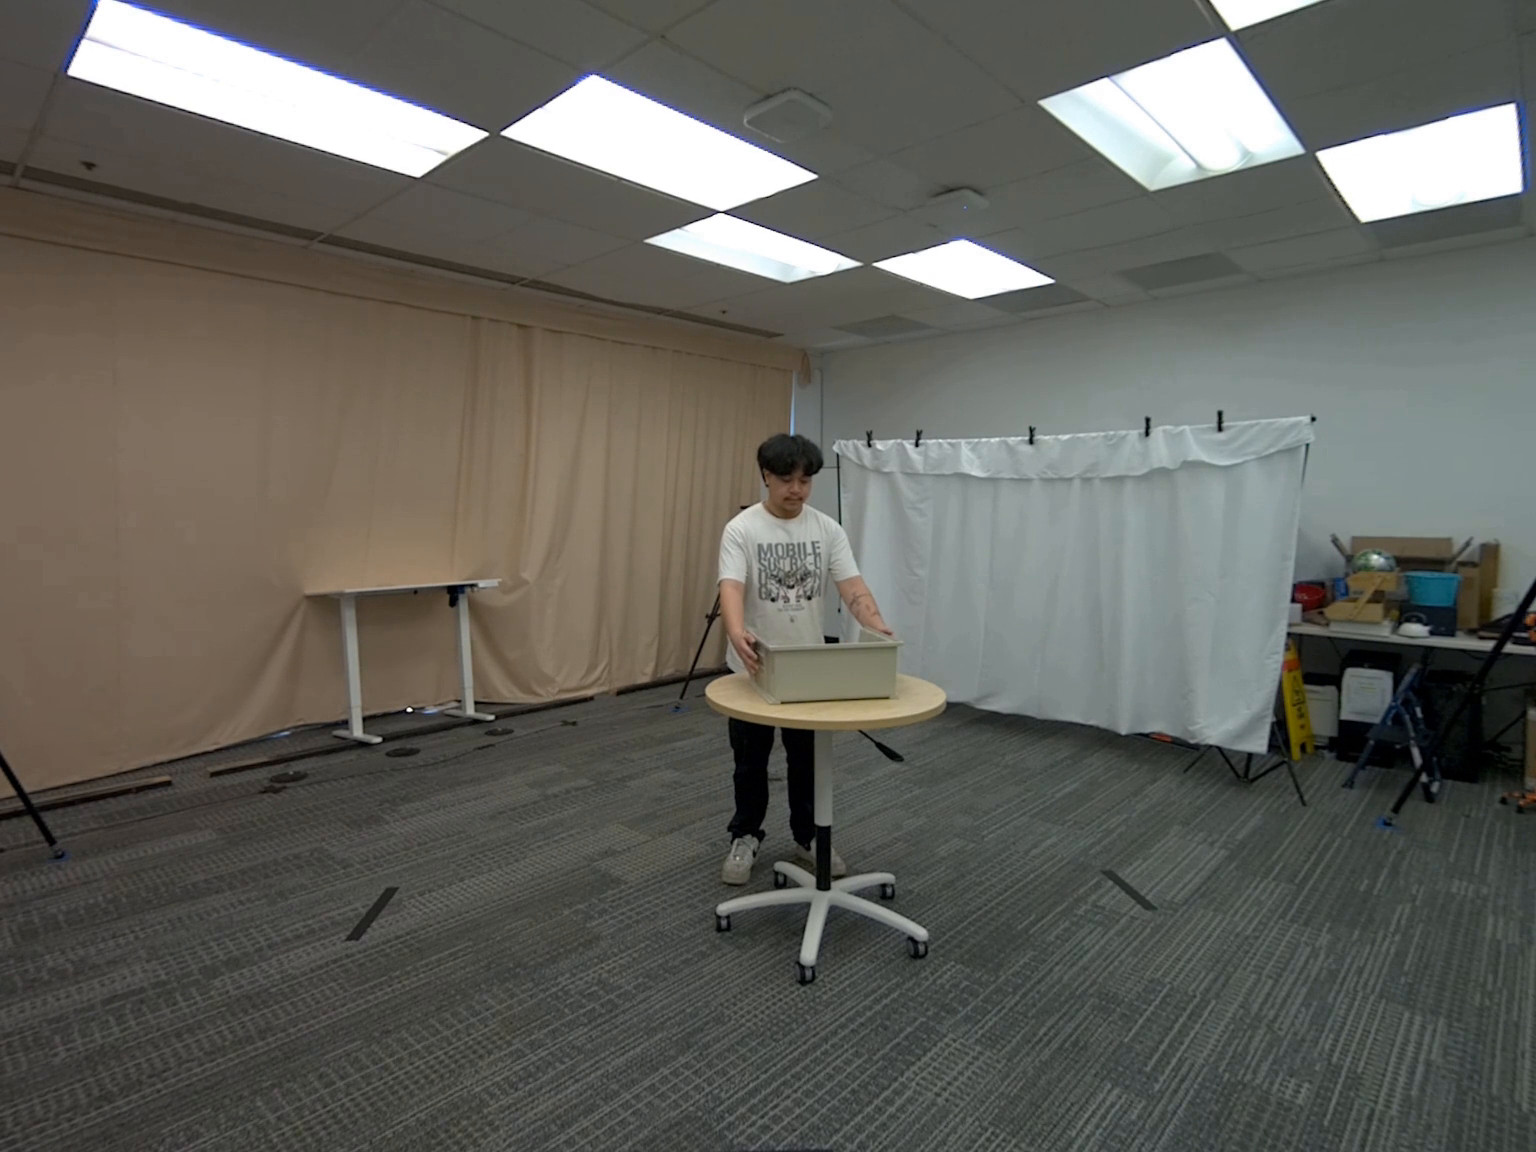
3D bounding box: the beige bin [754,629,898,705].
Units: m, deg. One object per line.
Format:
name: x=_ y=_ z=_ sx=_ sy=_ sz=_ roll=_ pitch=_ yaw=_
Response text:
beige bin: x=0.164 y=0.278 z=2.725 sx=0.417 sy=0.188 sz=0.384 roll=-1 pitch=7 yaw=-13
